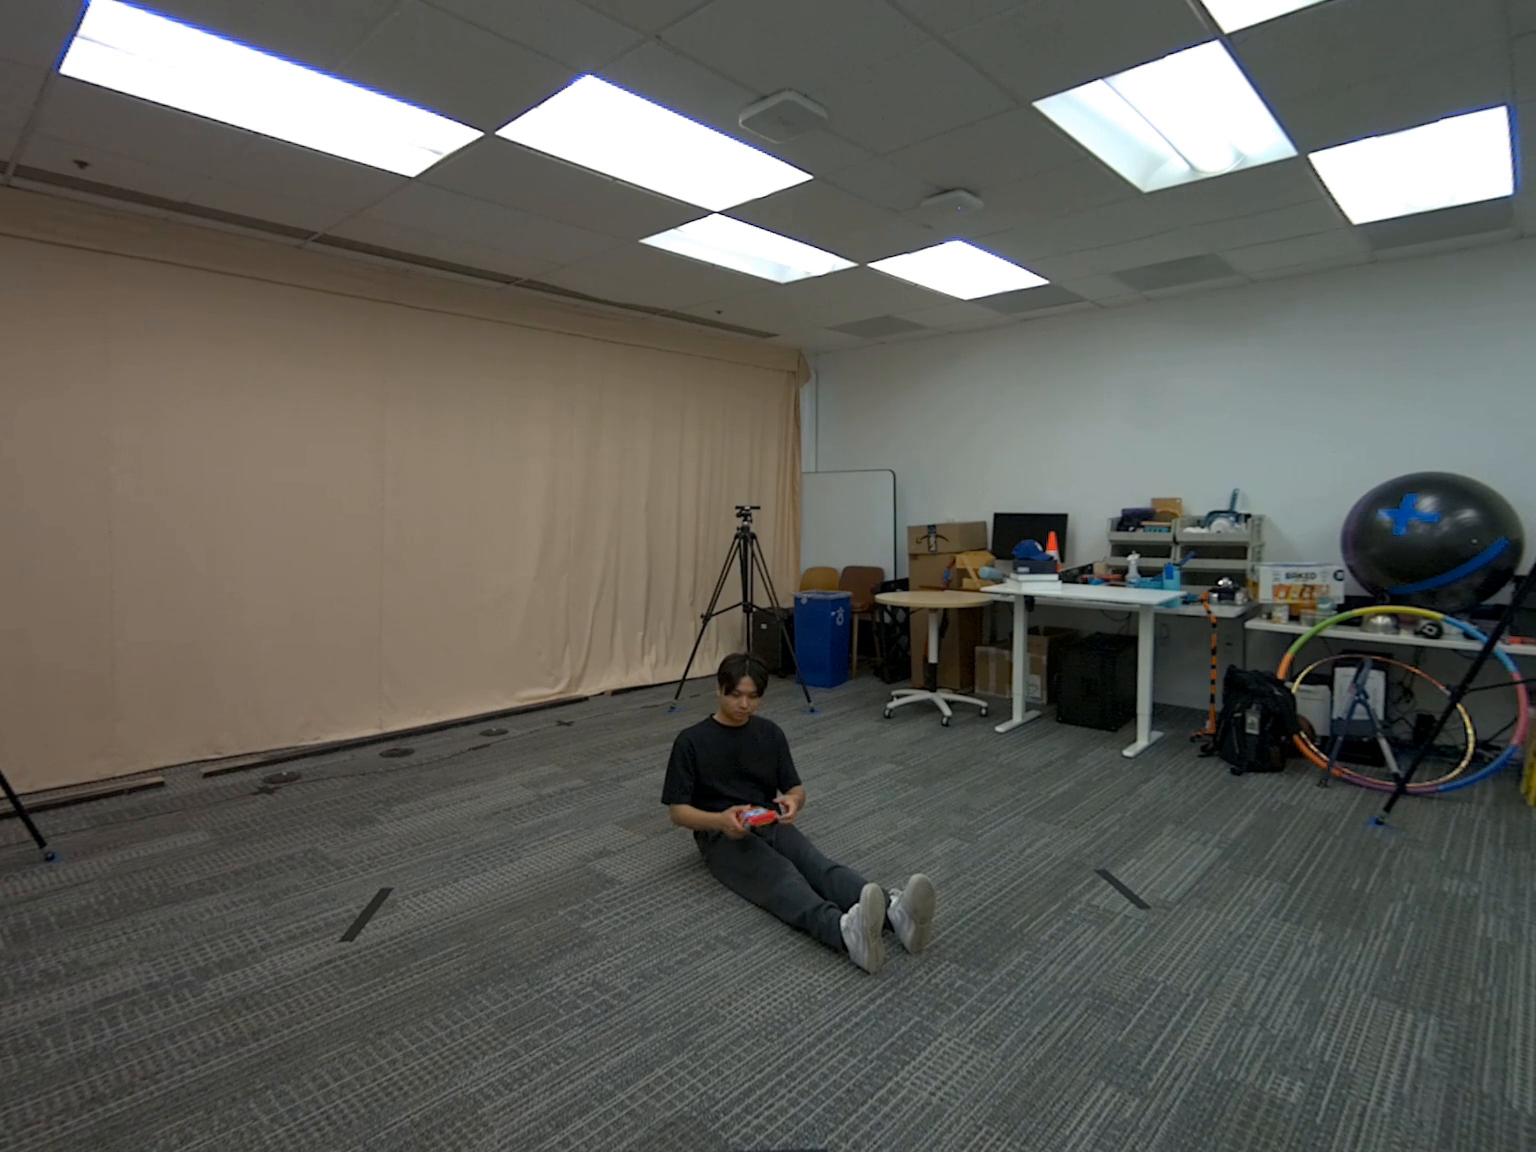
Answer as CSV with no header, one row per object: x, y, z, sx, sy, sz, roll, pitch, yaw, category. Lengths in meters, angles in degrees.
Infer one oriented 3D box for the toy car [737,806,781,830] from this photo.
-0.065,0.872,3.005,0.128,0.083,0.258,-8,-6,-21,toy car
